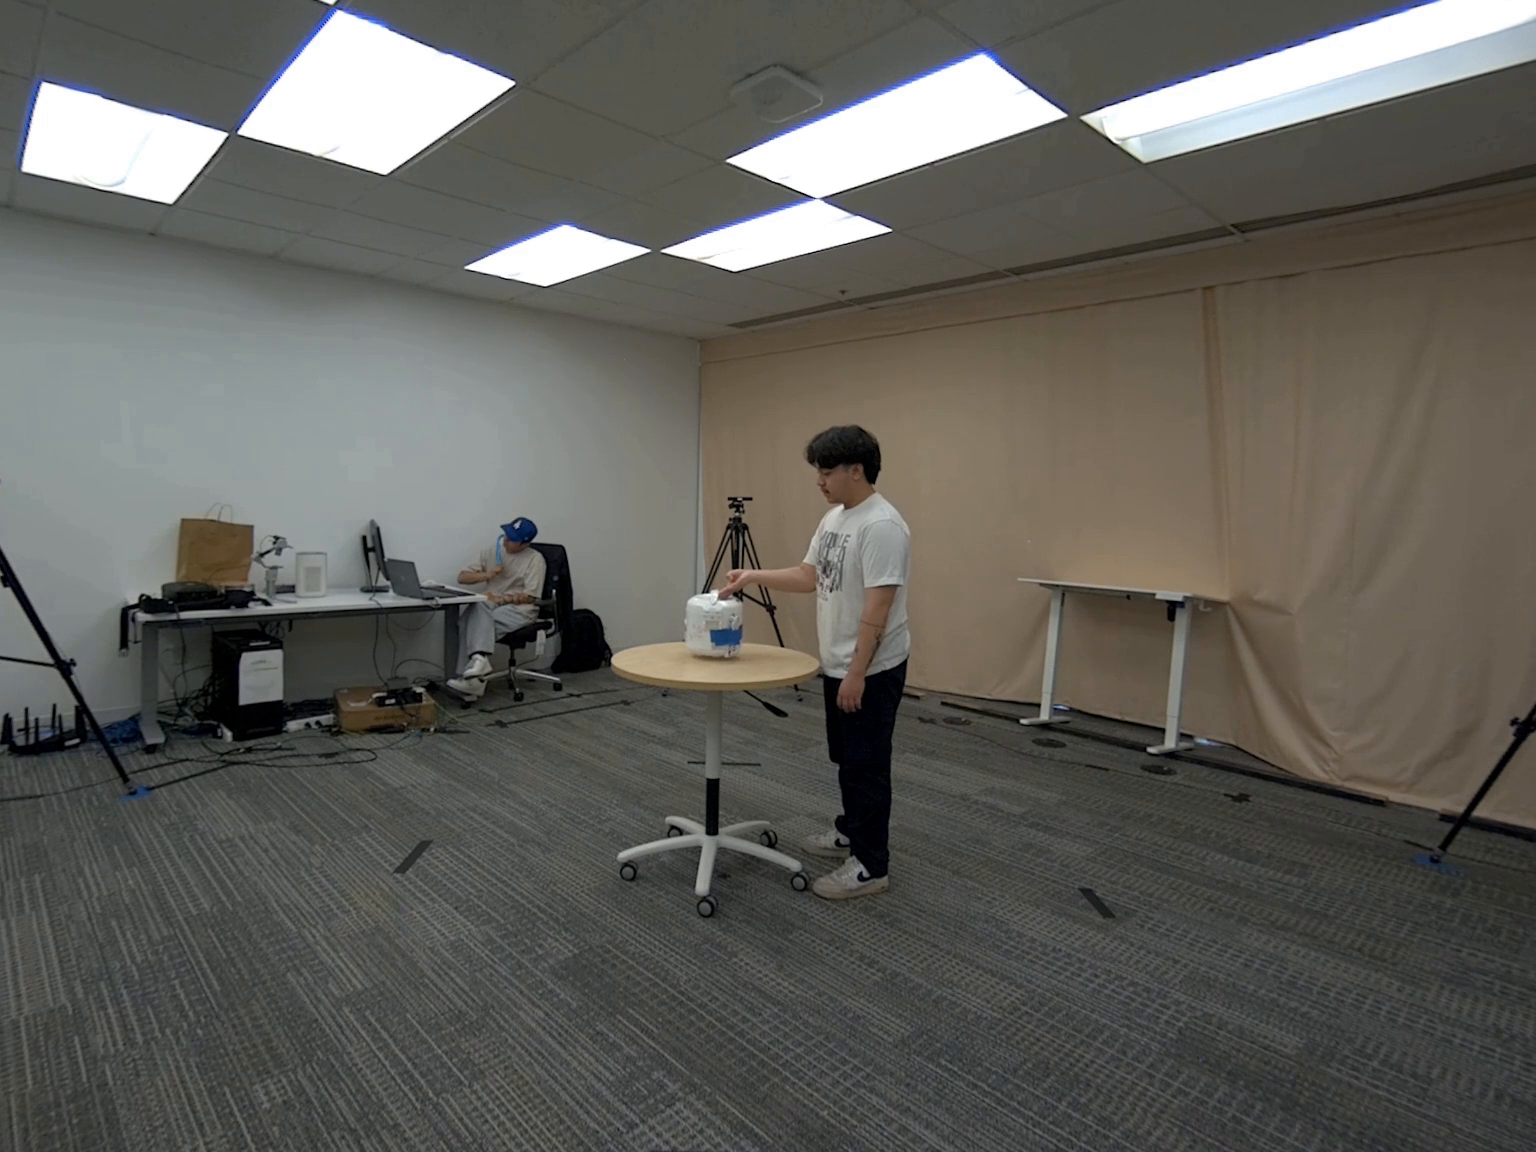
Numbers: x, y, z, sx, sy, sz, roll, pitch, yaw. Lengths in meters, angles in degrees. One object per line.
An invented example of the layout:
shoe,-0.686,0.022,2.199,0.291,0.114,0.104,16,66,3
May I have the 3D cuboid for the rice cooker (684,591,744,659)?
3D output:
rice cooker,-0.206,0.166,3.141,0.218,0.232,0.221,2,7,3
